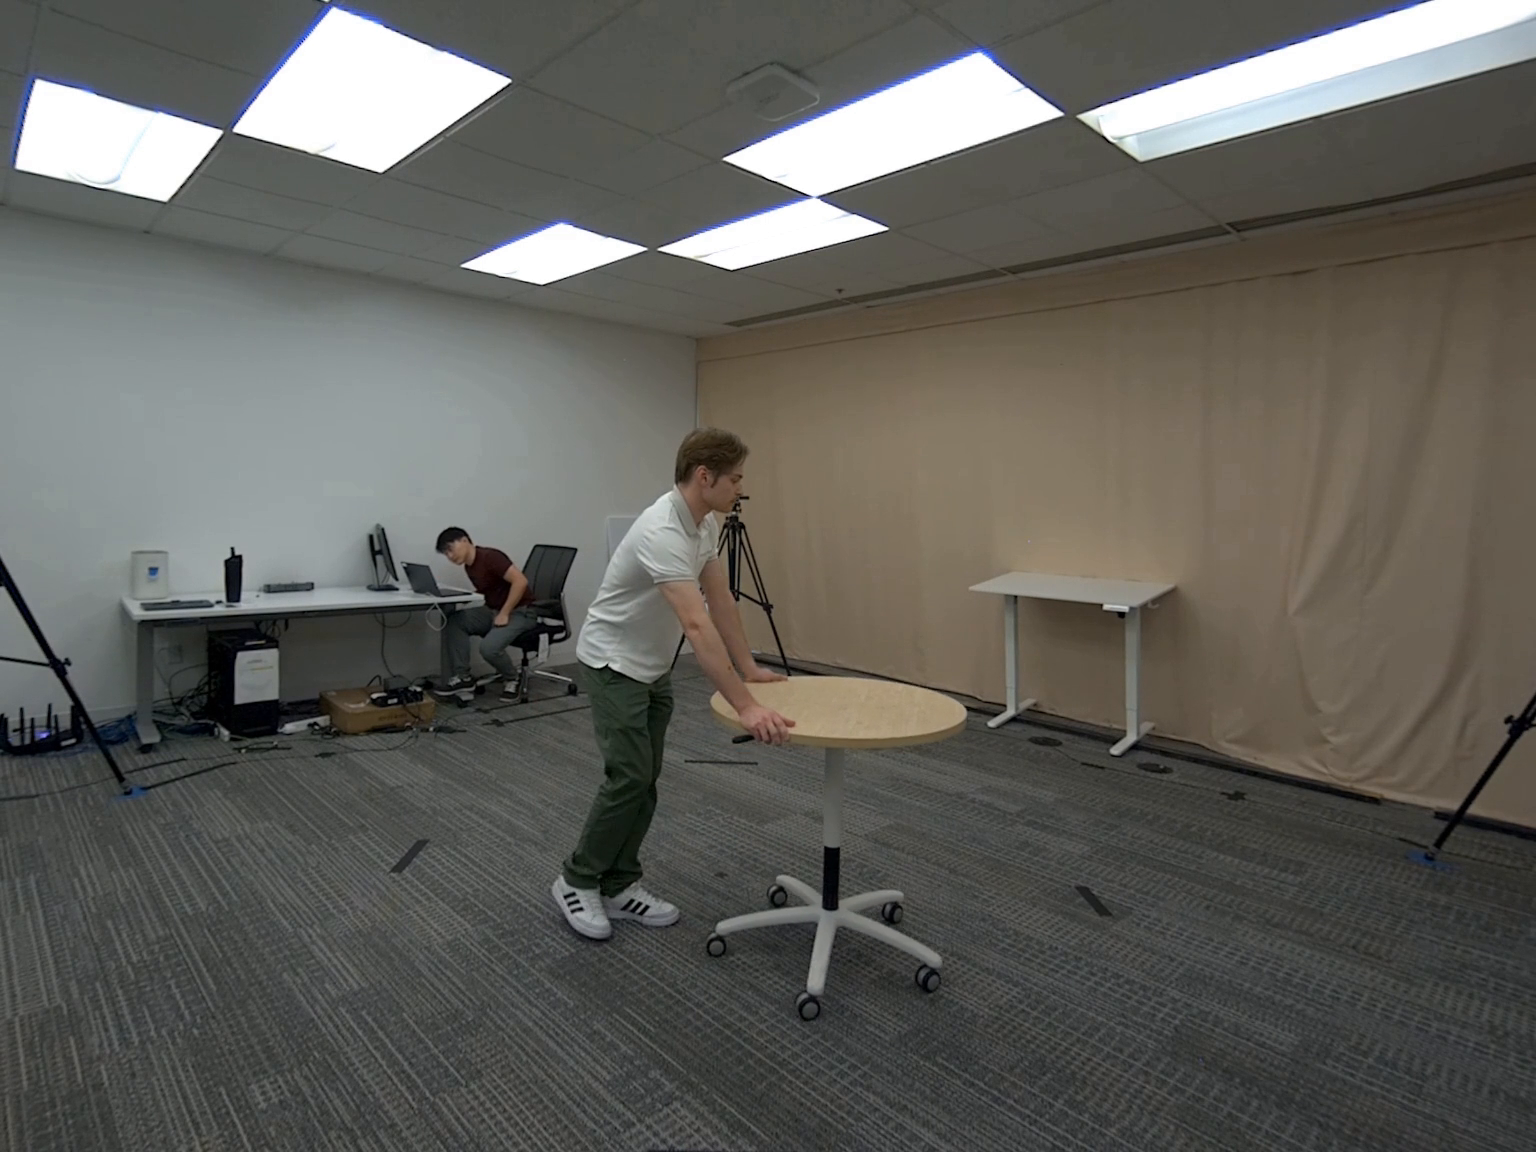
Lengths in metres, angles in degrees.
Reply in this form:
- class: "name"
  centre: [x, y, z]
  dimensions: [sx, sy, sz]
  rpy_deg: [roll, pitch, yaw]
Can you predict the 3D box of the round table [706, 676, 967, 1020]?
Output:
- class: "round table"
  centre: [0.193, 0.775, 2.571]
  dimensions: [0.763, 0.792, 0.767]
  rpy_deg: [1, 4, -1]
